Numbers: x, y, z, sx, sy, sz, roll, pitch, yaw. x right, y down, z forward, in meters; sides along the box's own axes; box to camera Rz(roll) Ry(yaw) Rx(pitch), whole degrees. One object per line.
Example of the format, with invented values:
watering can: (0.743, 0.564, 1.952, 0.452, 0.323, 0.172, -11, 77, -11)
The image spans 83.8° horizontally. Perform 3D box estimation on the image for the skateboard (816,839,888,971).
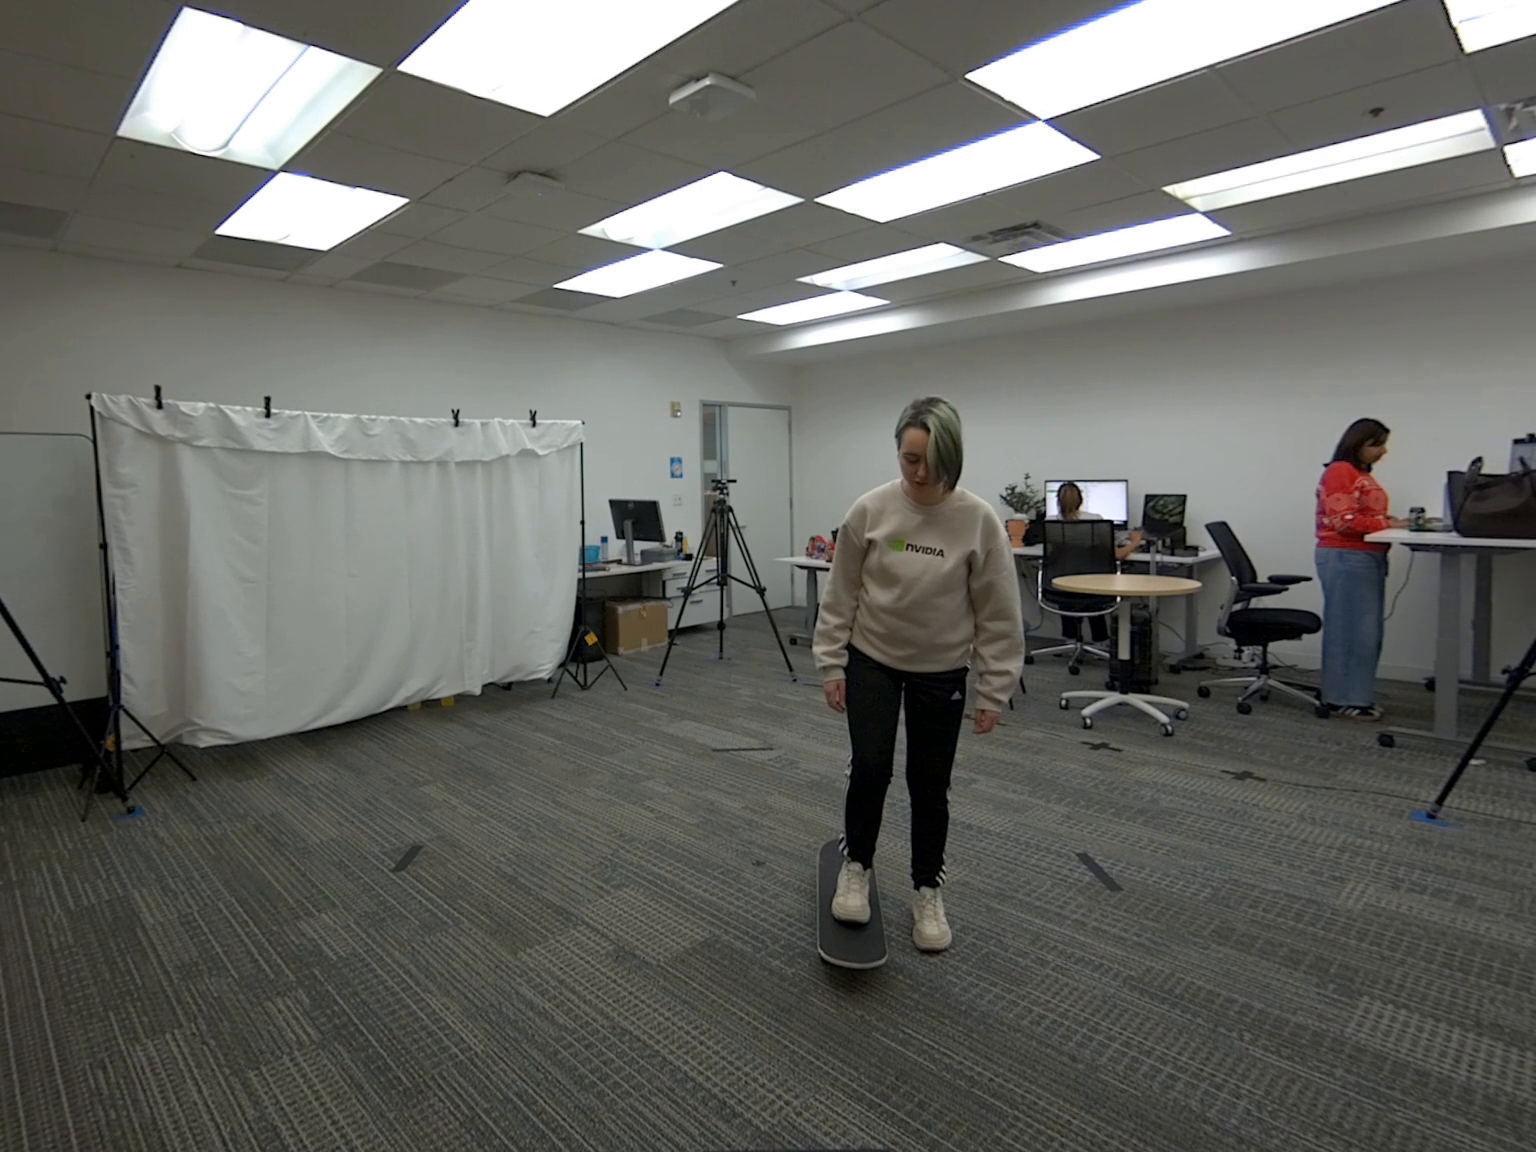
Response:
skateboard: (0.259, 1.038, 2.669, 0.194, 0.110, 0.786, 1, 7, 3)
